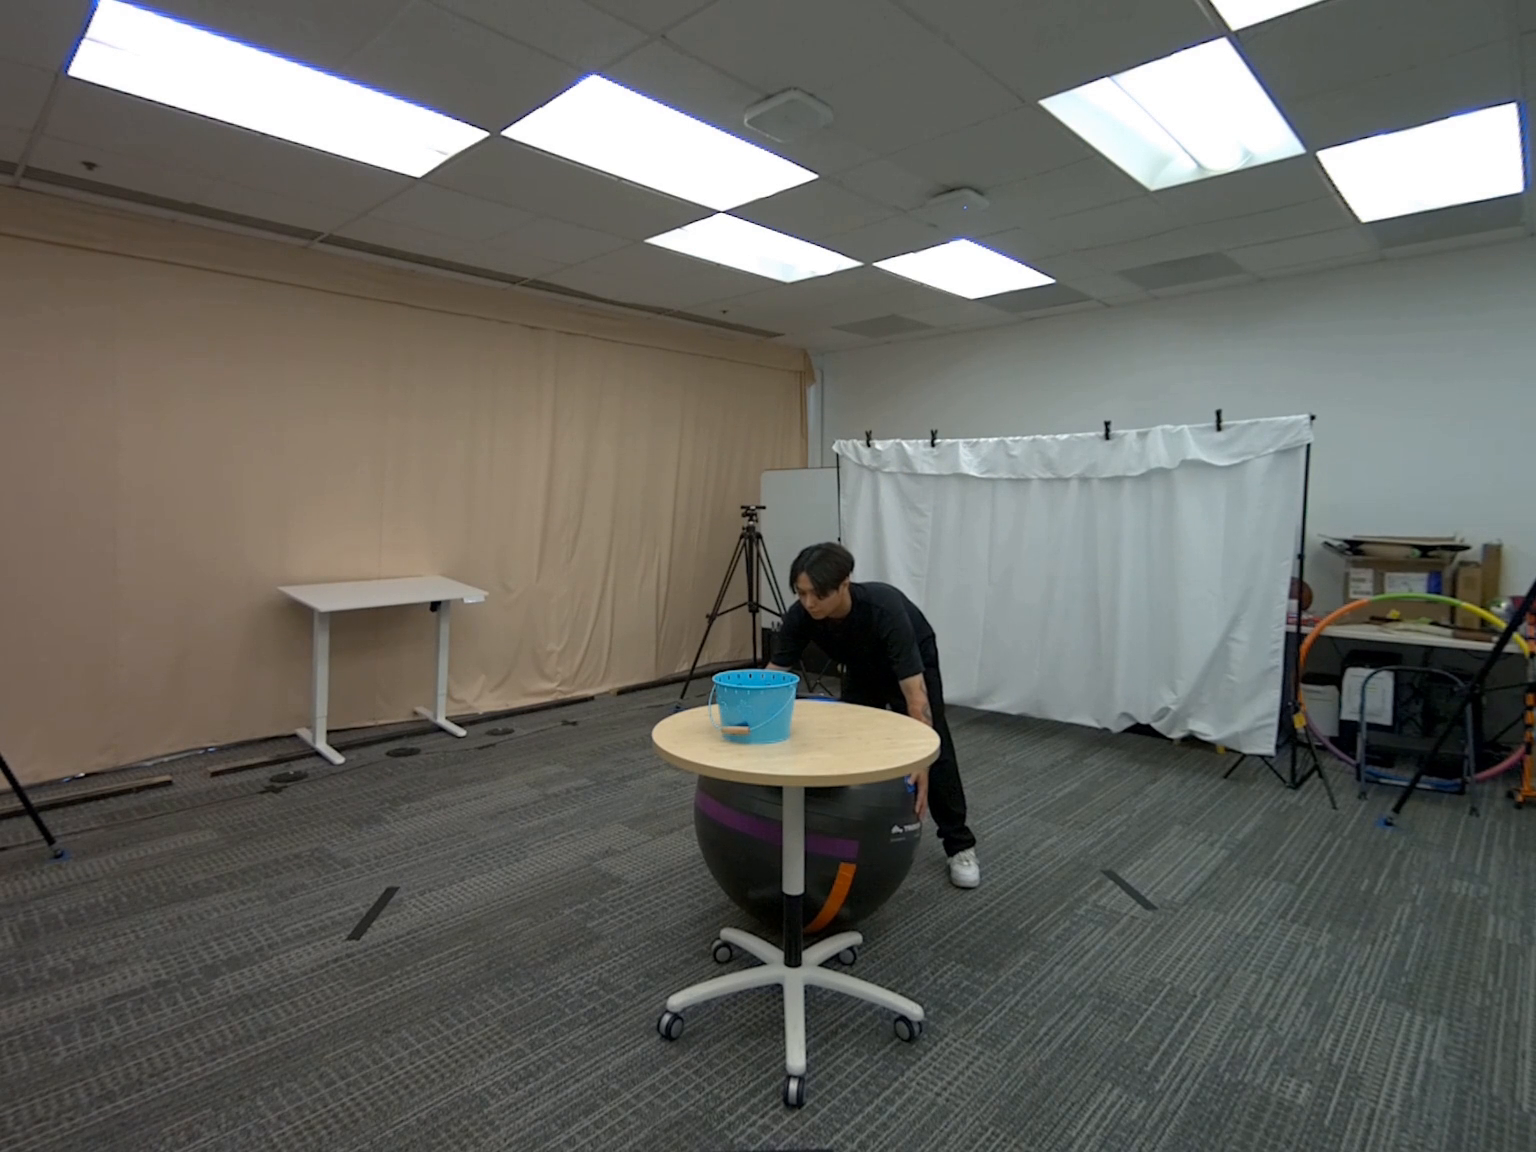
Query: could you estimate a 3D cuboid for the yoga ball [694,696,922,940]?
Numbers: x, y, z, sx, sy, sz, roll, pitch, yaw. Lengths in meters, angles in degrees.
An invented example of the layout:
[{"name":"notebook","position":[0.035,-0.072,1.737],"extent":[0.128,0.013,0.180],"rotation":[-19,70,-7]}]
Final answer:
[{"name":"yoga ball","position":[0.133,0.789,2.829],"extent":[0.757,0.756,0.760],"rotation":[0,4,-2]}]
